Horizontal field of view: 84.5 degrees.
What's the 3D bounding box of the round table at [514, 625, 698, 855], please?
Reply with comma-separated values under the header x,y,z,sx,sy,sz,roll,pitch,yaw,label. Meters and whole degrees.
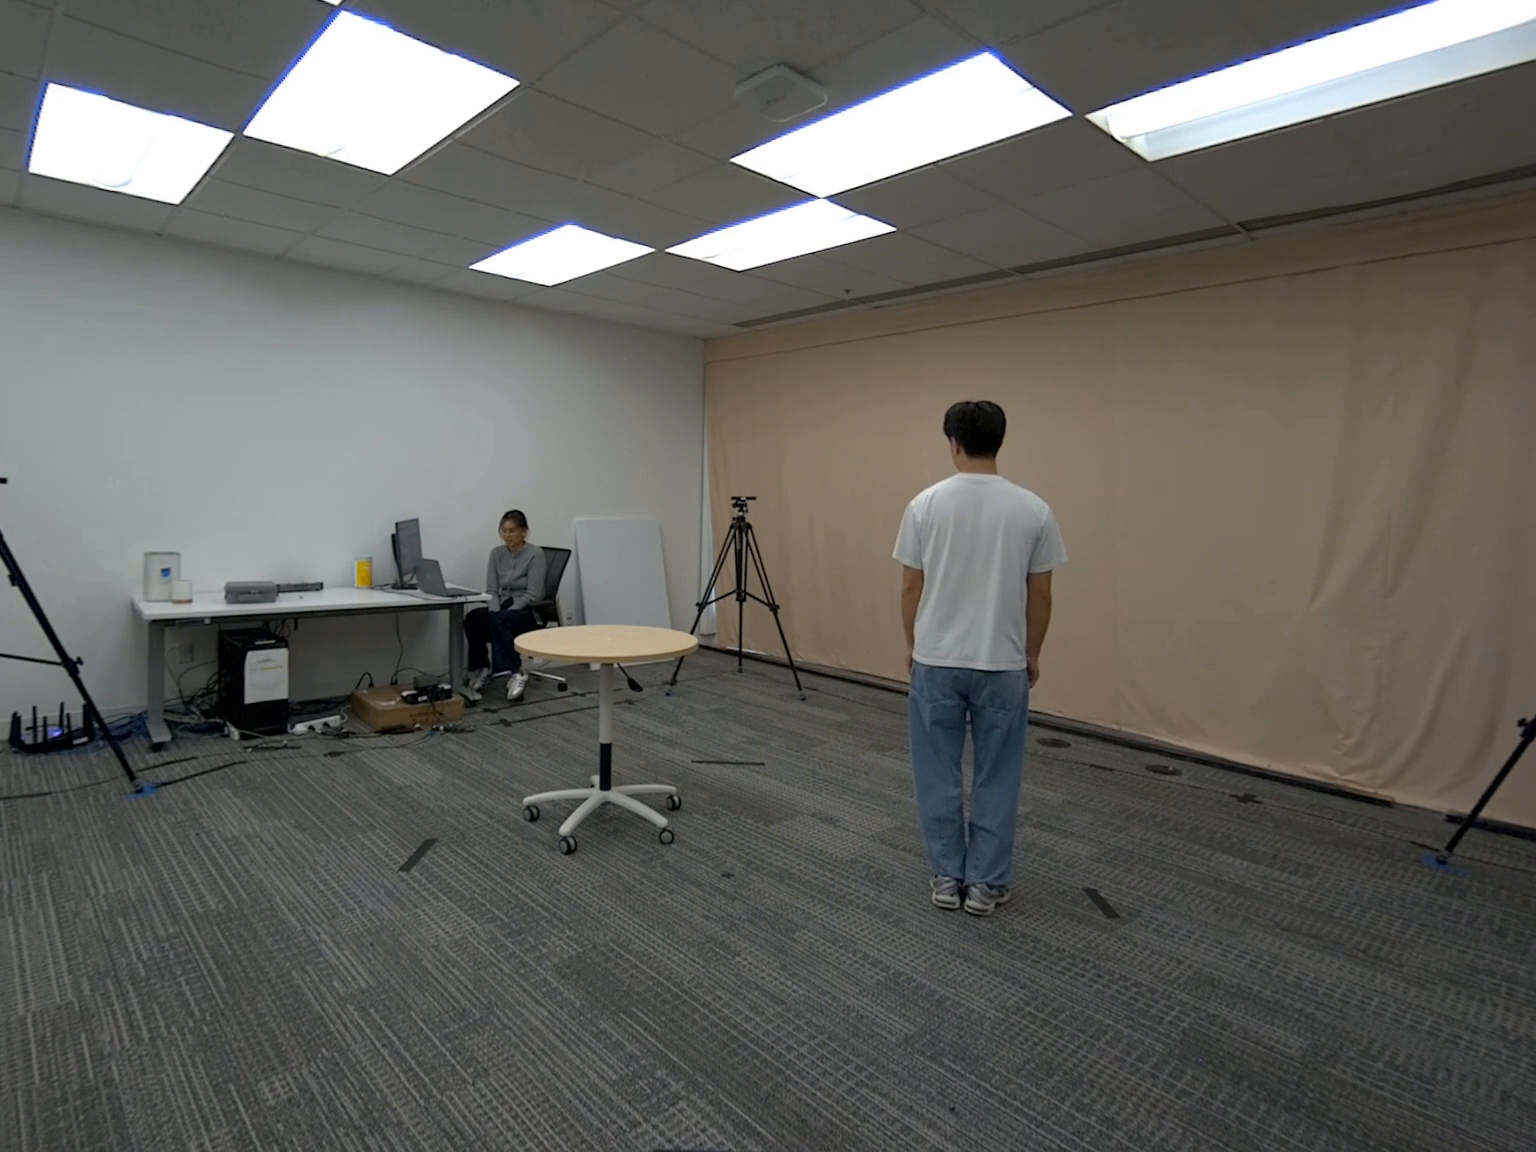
x,y,z,sx,sy,sz,roll,pitch,yaw,label
-0.695,0.663,3.569,0.763,0.792,0.766,1,4,-1,round table
